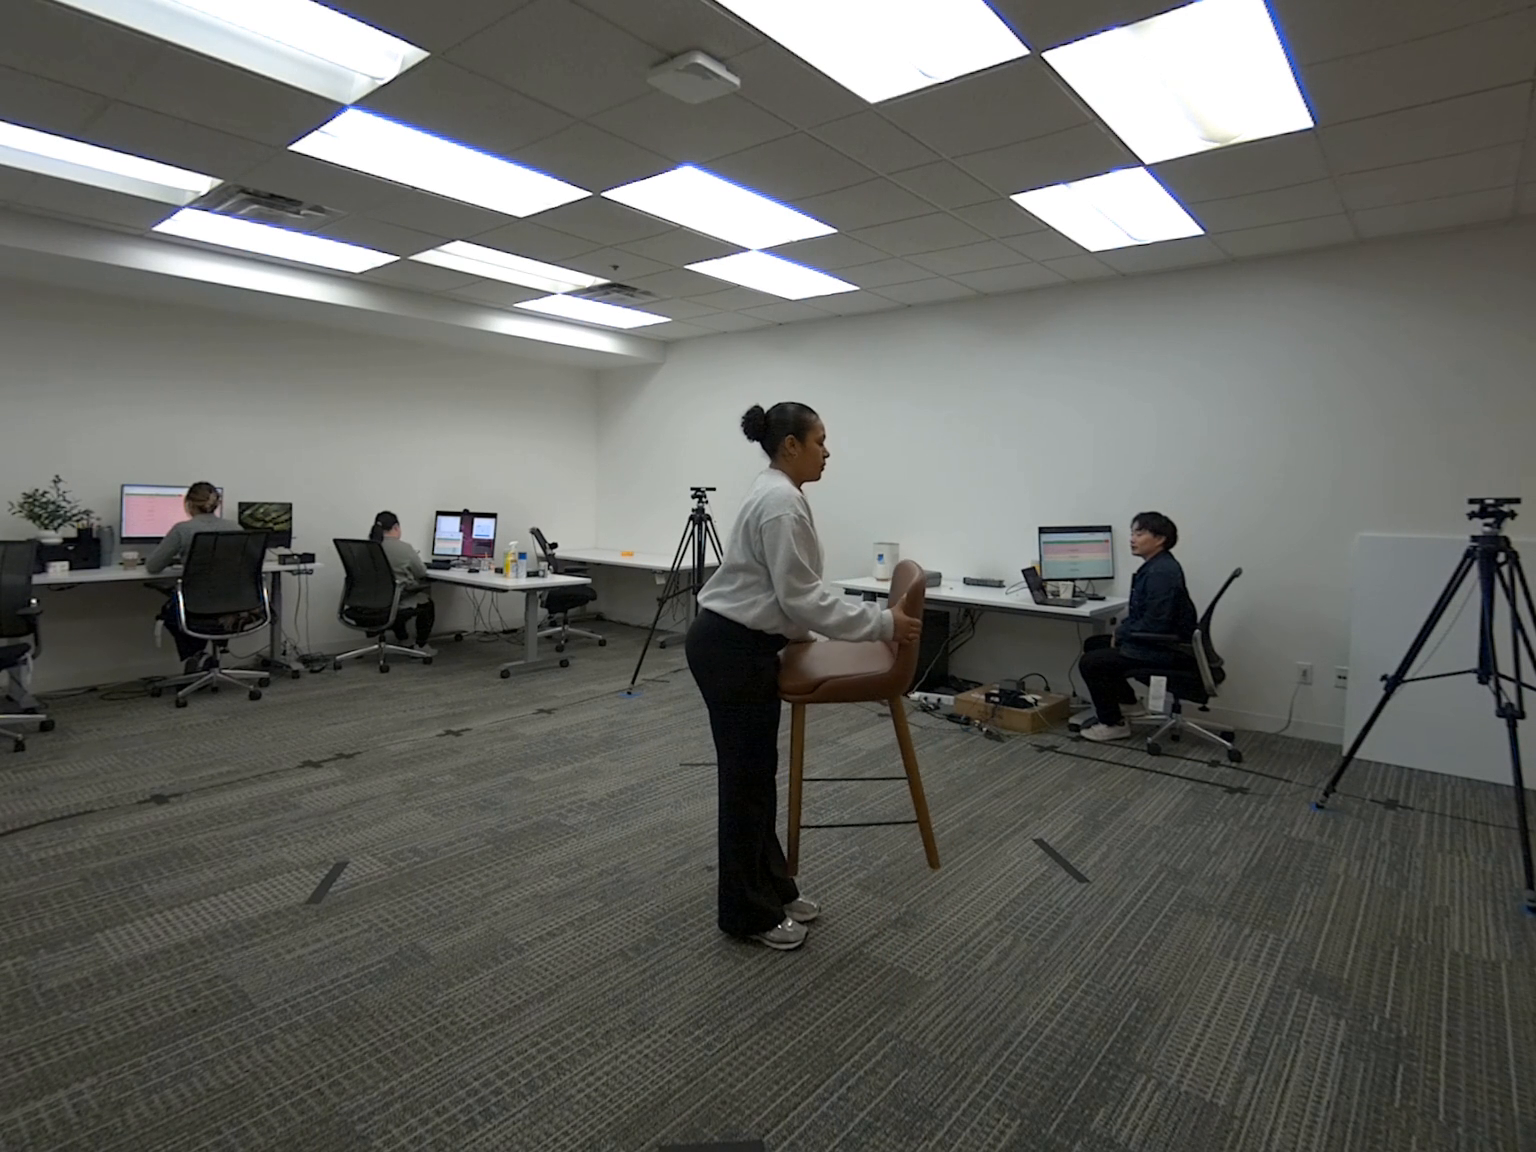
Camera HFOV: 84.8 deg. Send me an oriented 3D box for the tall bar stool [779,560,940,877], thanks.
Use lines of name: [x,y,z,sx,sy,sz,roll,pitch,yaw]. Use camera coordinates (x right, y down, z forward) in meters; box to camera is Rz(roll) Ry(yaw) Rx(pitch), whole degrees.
tall bar stool: [0.258,0.432,2.659,0.472,0.882,0.456,-3,9,8]
